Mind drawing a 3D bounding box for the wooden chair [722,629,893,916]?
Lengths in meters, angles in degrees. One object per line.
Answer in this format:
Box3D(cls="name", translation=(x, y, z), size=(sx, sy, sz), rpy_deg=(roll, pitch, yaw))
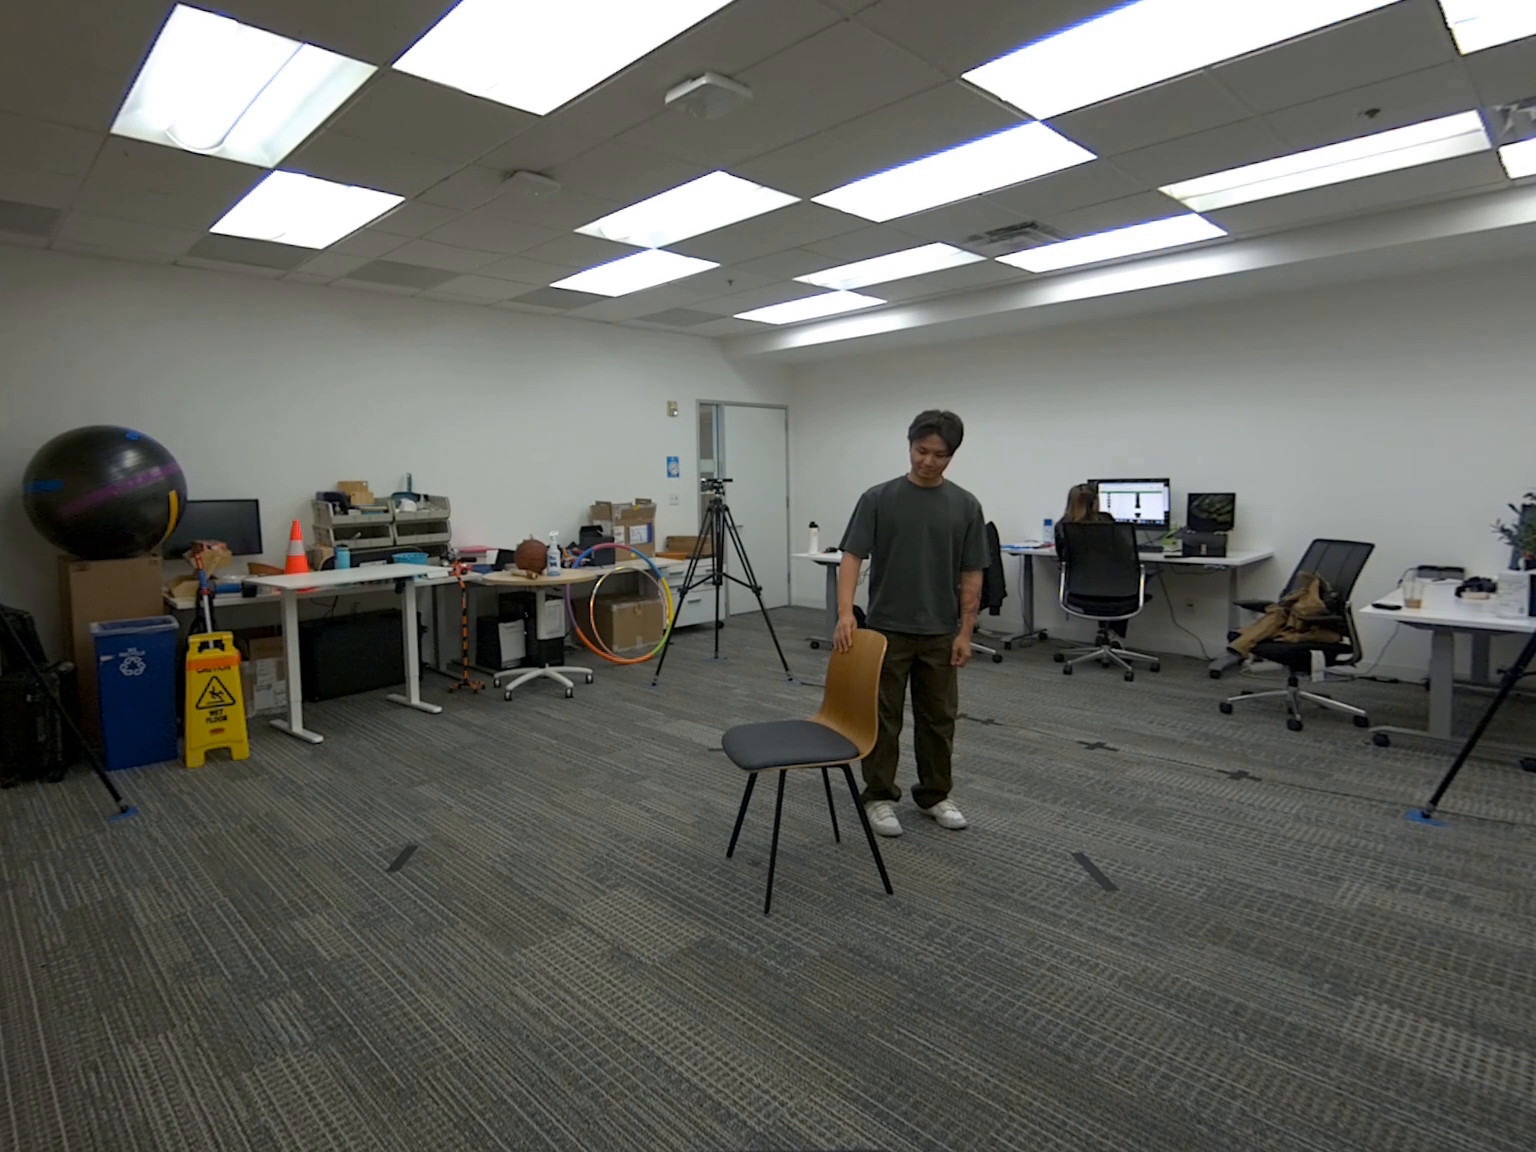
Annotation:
Box3D(cls="wooden chair", translation=(0.122, 0.628, 2.977), size=(0.514, 0.875, 0.487), rpy_deg=(2, 3, -18))
